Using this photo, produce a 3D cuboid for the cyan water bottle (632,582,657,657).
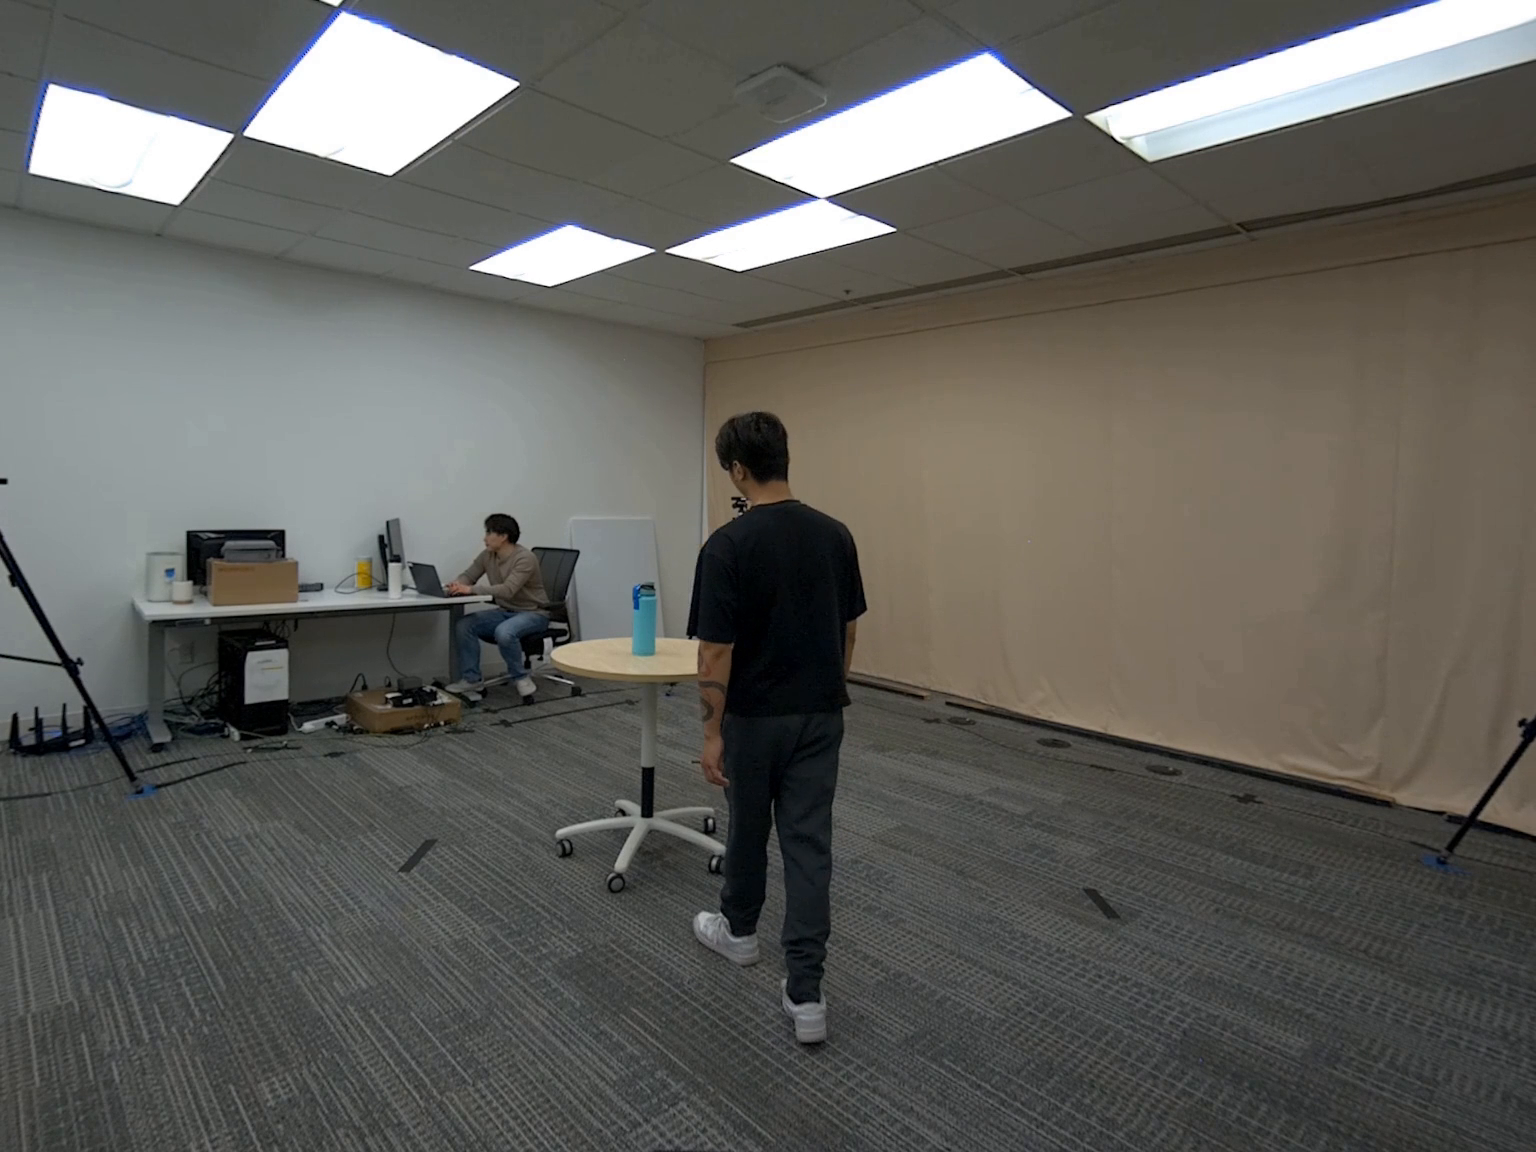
[{"bbox_3d":[-0.490,0.163,3.260,0.092,0.282,0.093,1,4,-1],"label":"cyan water bottle"}]
